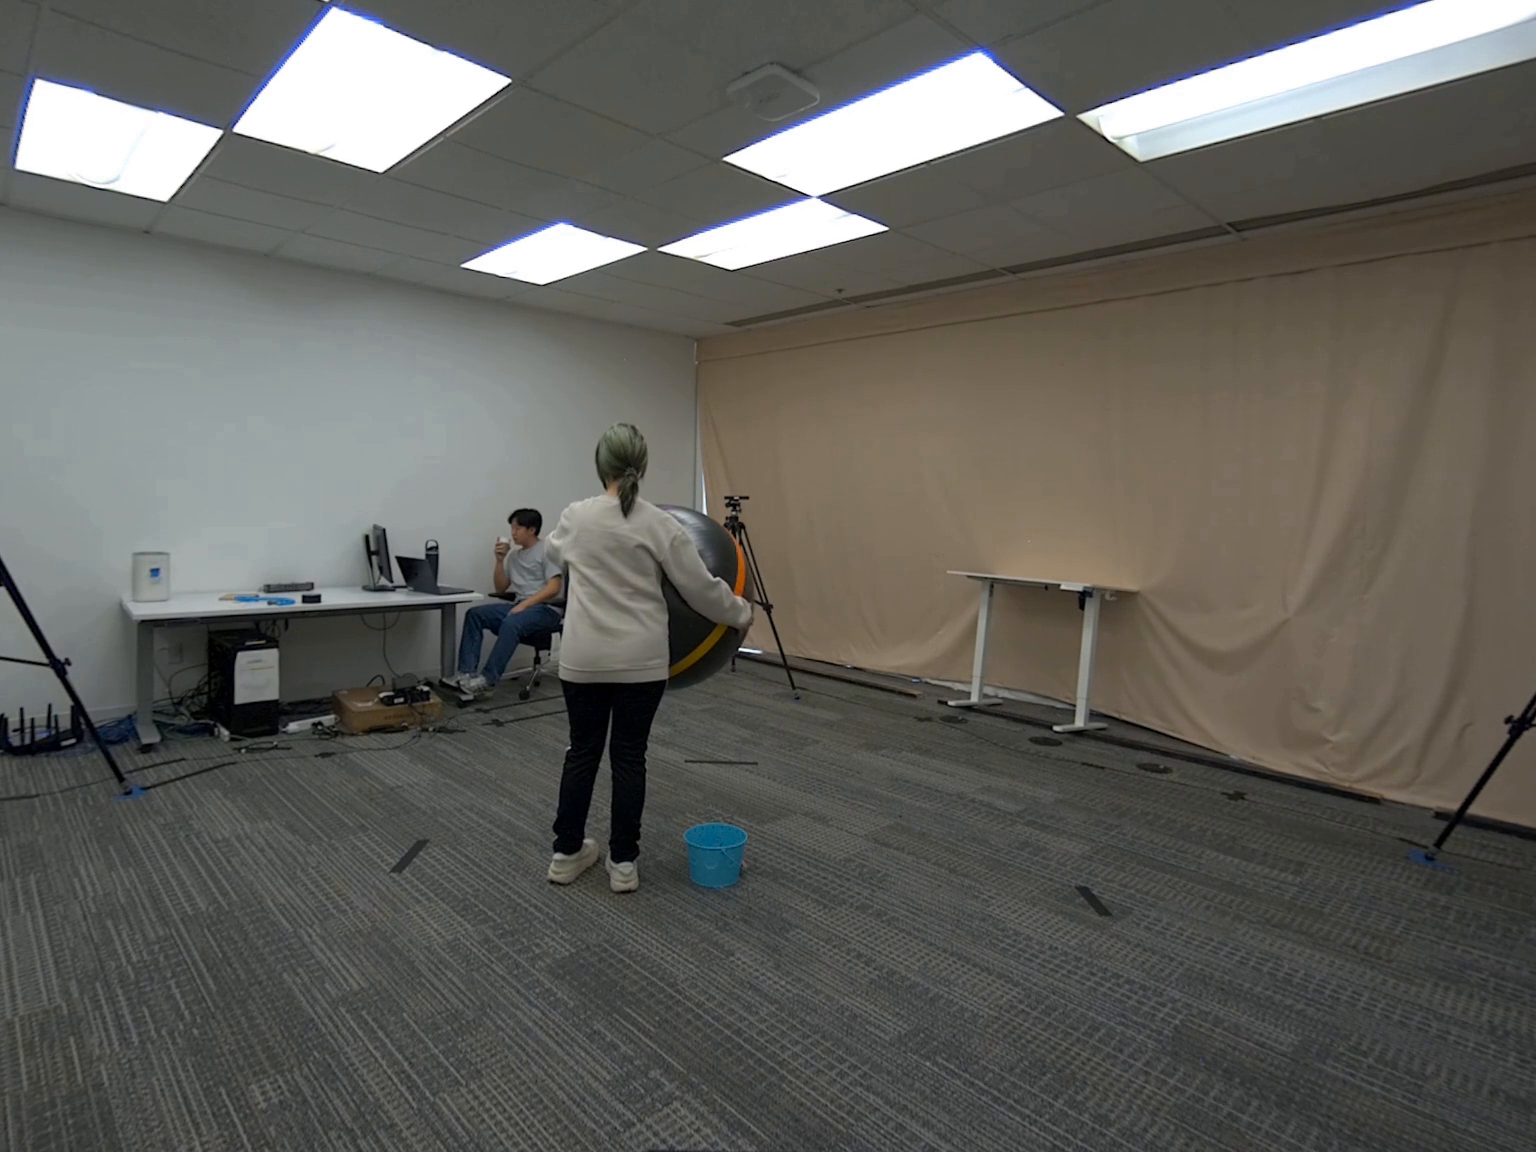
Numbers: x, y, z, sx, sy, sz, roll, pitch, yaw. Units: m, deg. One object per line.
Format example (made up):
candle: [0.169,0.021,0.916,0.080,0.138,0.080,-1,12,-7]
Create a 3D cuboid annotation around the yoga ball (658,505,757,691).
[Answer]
yoga ball: [-0.438,0.094,3.455,0.757,0.756,0.761,1,4,-1]
